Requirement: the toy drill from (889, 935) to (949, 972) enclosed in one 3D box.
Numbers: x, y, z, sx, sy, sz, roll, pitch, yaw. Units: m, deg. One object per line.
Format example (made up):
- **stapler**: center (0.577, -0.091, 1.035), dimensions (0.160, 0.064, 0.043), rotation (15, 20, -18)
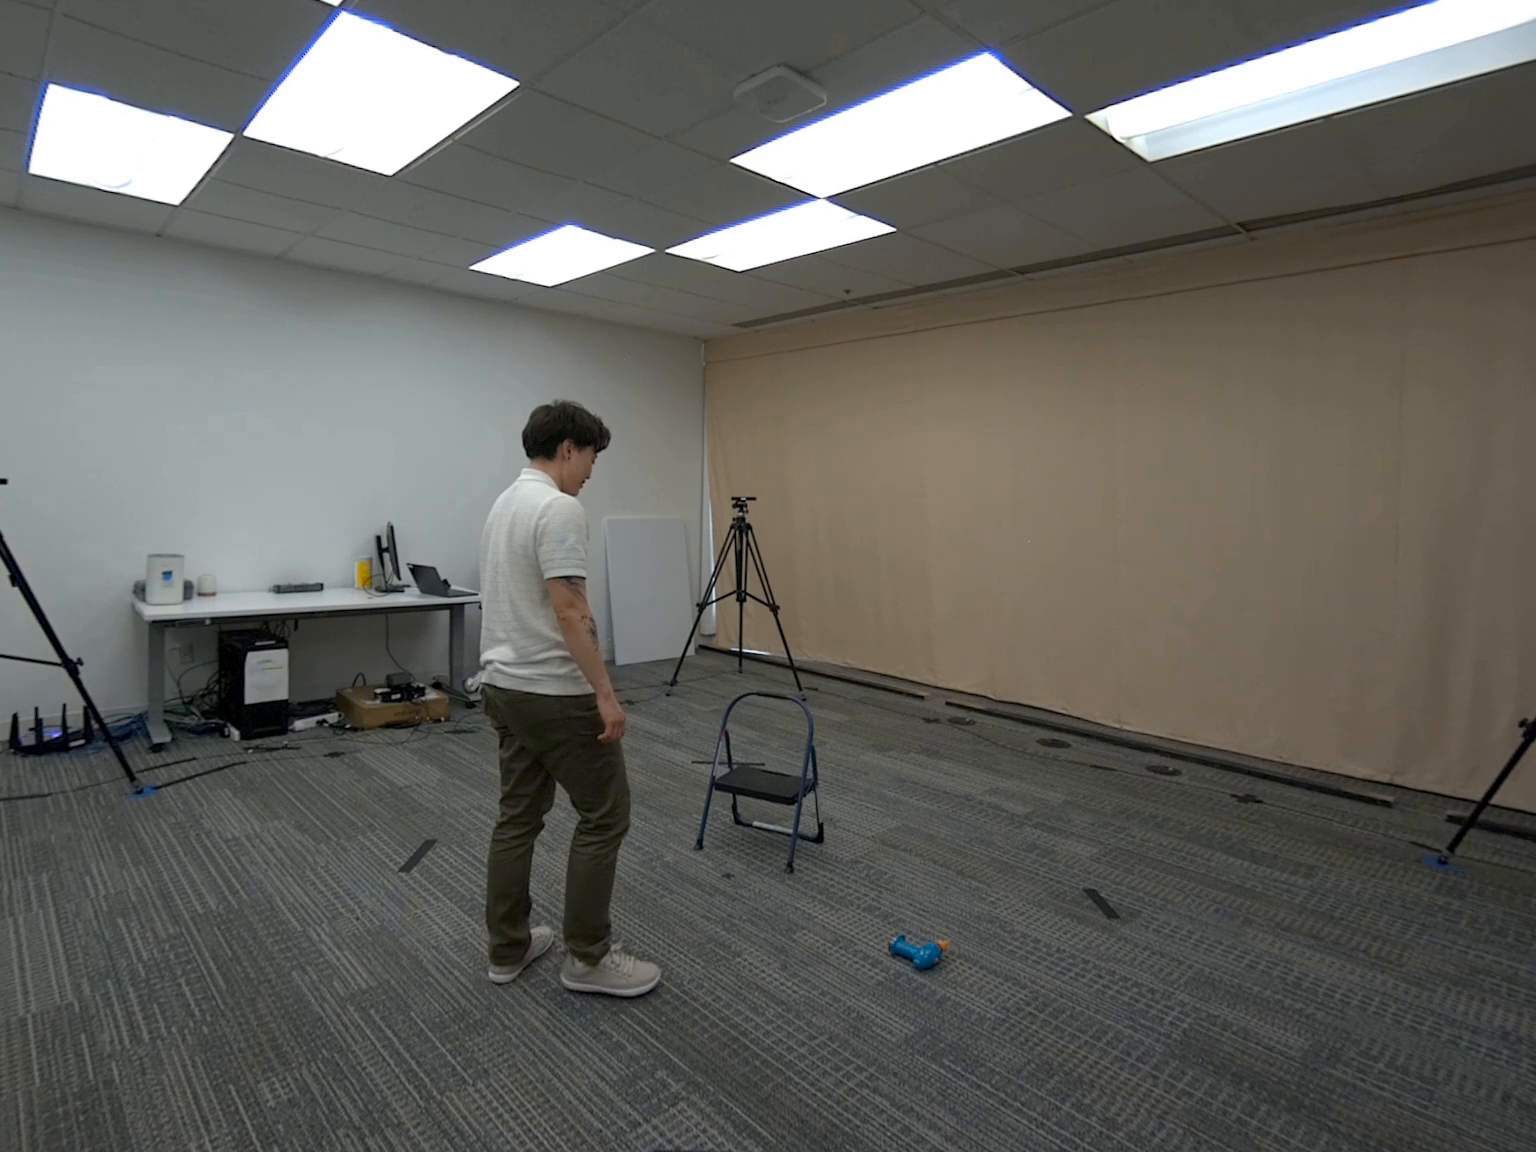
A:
- **toy drill**: center (0.469, 1.143, 2.570), dimensions (0.166, 0.061, 0.150), rotation (-10, 10, -39)
